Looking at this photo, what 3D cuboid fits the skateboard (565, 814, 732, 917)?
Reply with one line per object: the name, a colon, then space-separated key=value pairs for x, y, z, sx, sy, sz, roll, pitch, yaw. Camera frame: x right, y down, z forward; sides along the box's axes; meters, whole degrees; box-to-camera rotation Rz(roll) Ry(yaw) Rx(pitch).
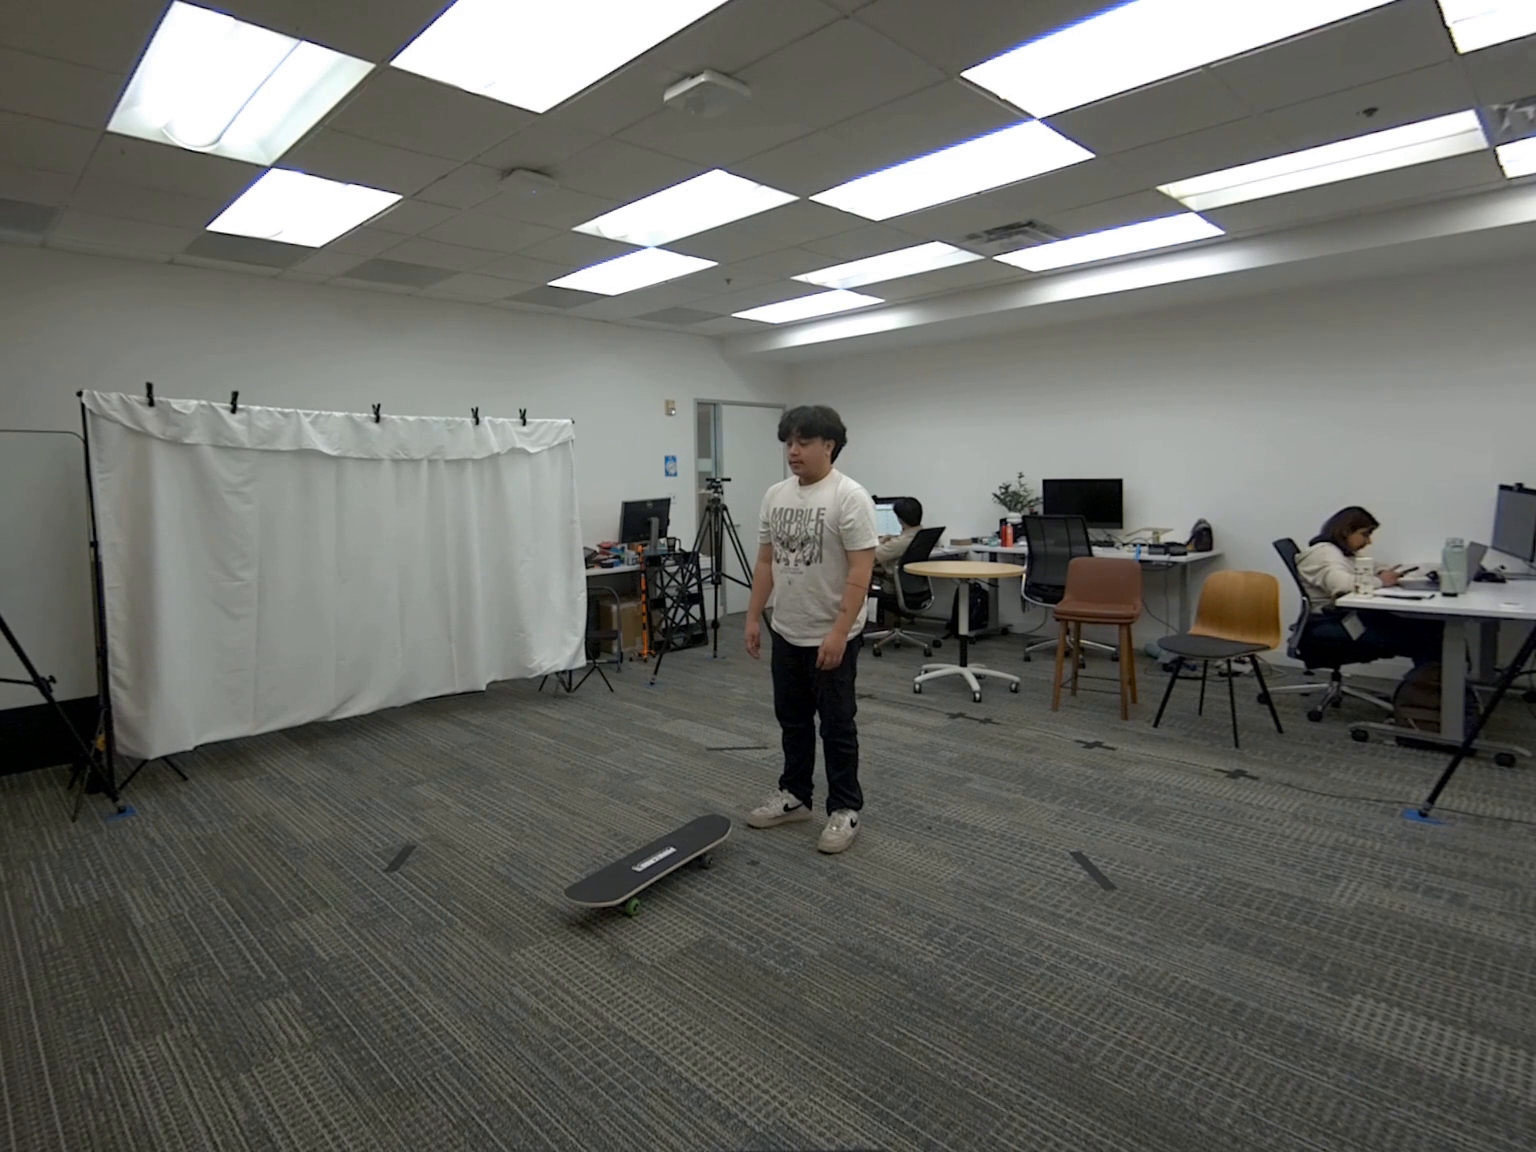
skateboard: x=-0.390 y=1.008 z=2.957 sx=0.199 sy=0.110 sz=0.767 roll=4 pitch=8 yaw=33
